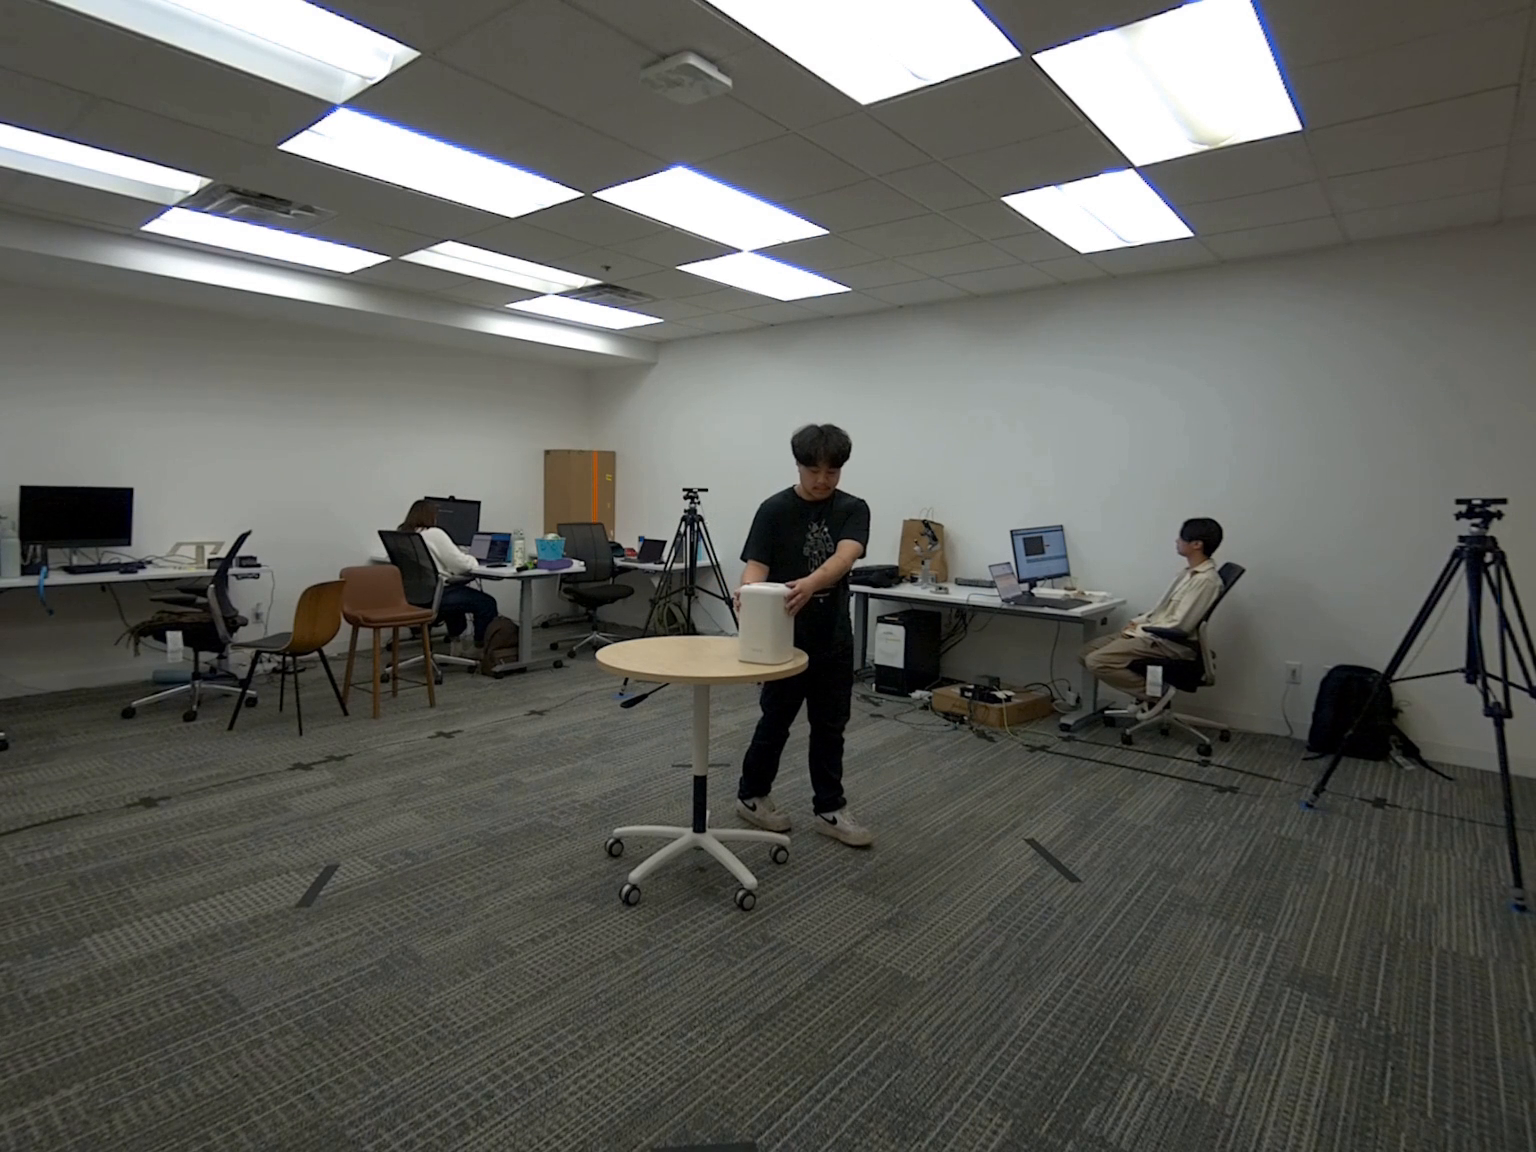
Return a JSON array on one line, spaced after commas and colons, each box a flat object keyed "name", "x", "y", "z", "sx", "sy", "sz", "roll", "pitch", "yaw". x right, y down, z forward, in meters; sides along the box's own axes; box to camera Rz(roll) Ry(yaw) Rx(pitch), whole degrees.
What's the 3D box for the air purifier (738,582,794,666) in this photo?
[{"name": "air purifier", "x": -0.019, "y": 0.158, "z": 2.977, "sx": 0.175, "sy": 0.264, "sz": 0.168, "roll": 3, "pitch": 4, "yaw": 24}]
